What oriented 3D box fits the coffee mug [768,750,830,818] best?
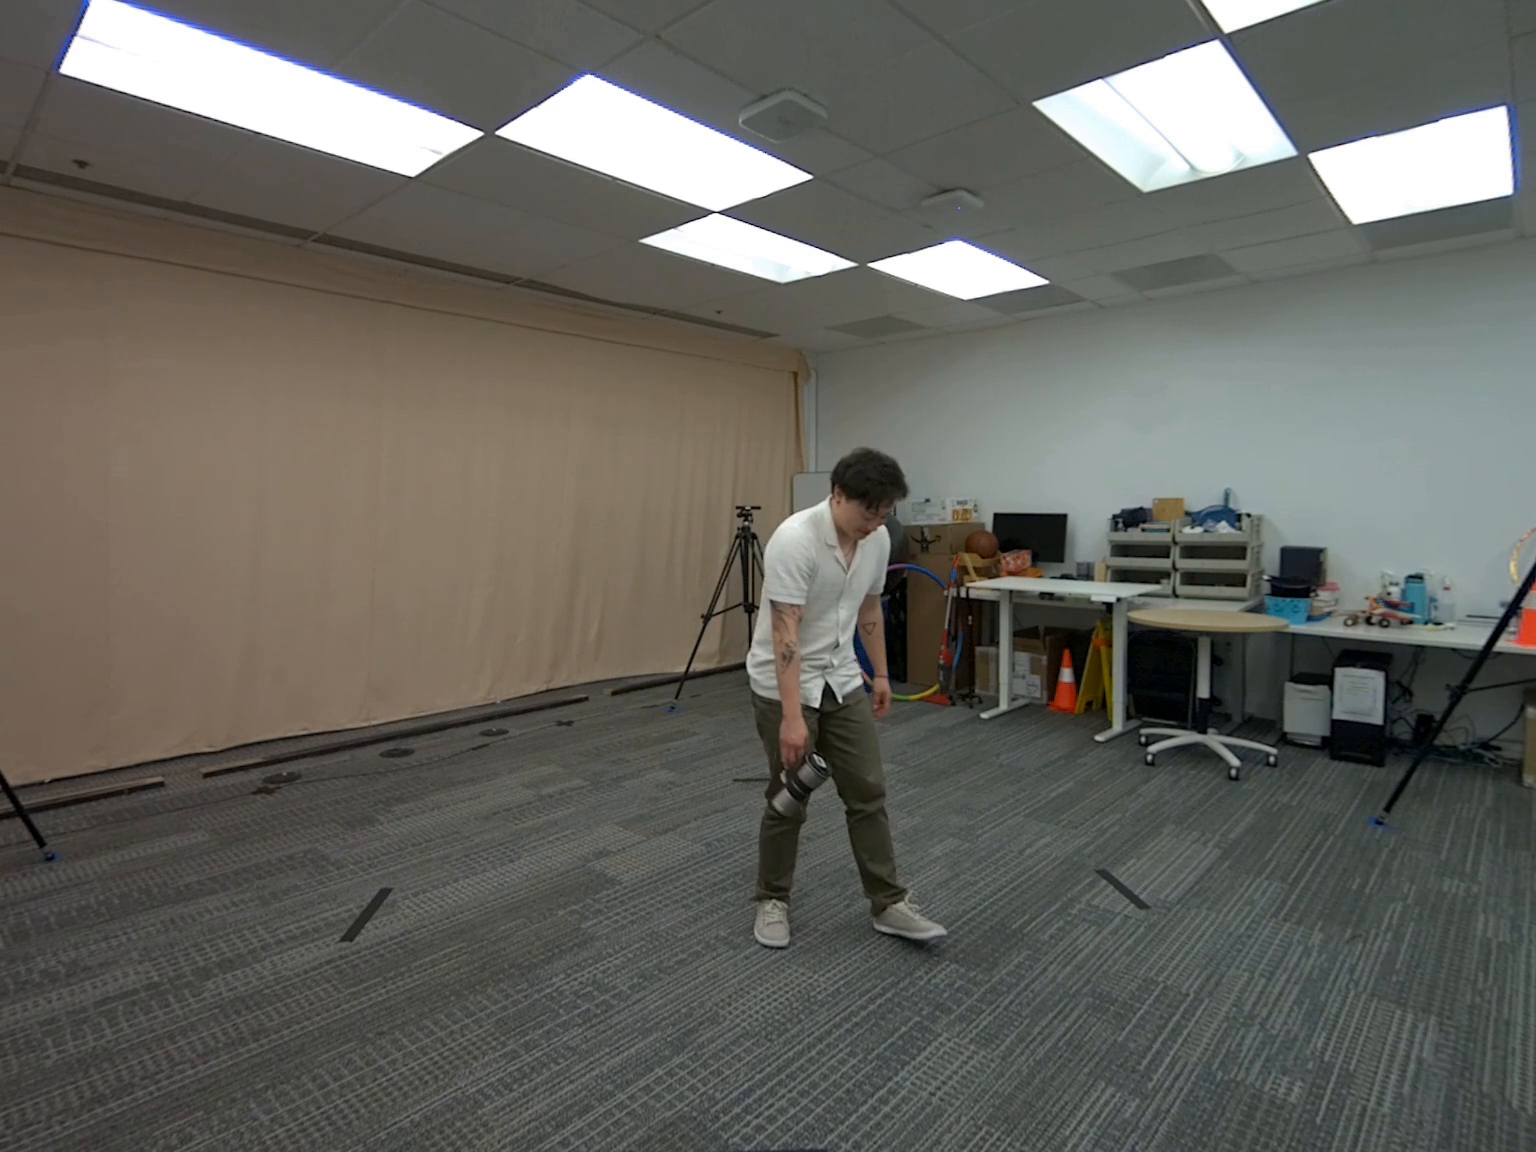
[{"bbox_3d":[0.084,0.610,2.512,0.085,0.203,0.126,21,25,-45],"label":"coffee mug"}]
